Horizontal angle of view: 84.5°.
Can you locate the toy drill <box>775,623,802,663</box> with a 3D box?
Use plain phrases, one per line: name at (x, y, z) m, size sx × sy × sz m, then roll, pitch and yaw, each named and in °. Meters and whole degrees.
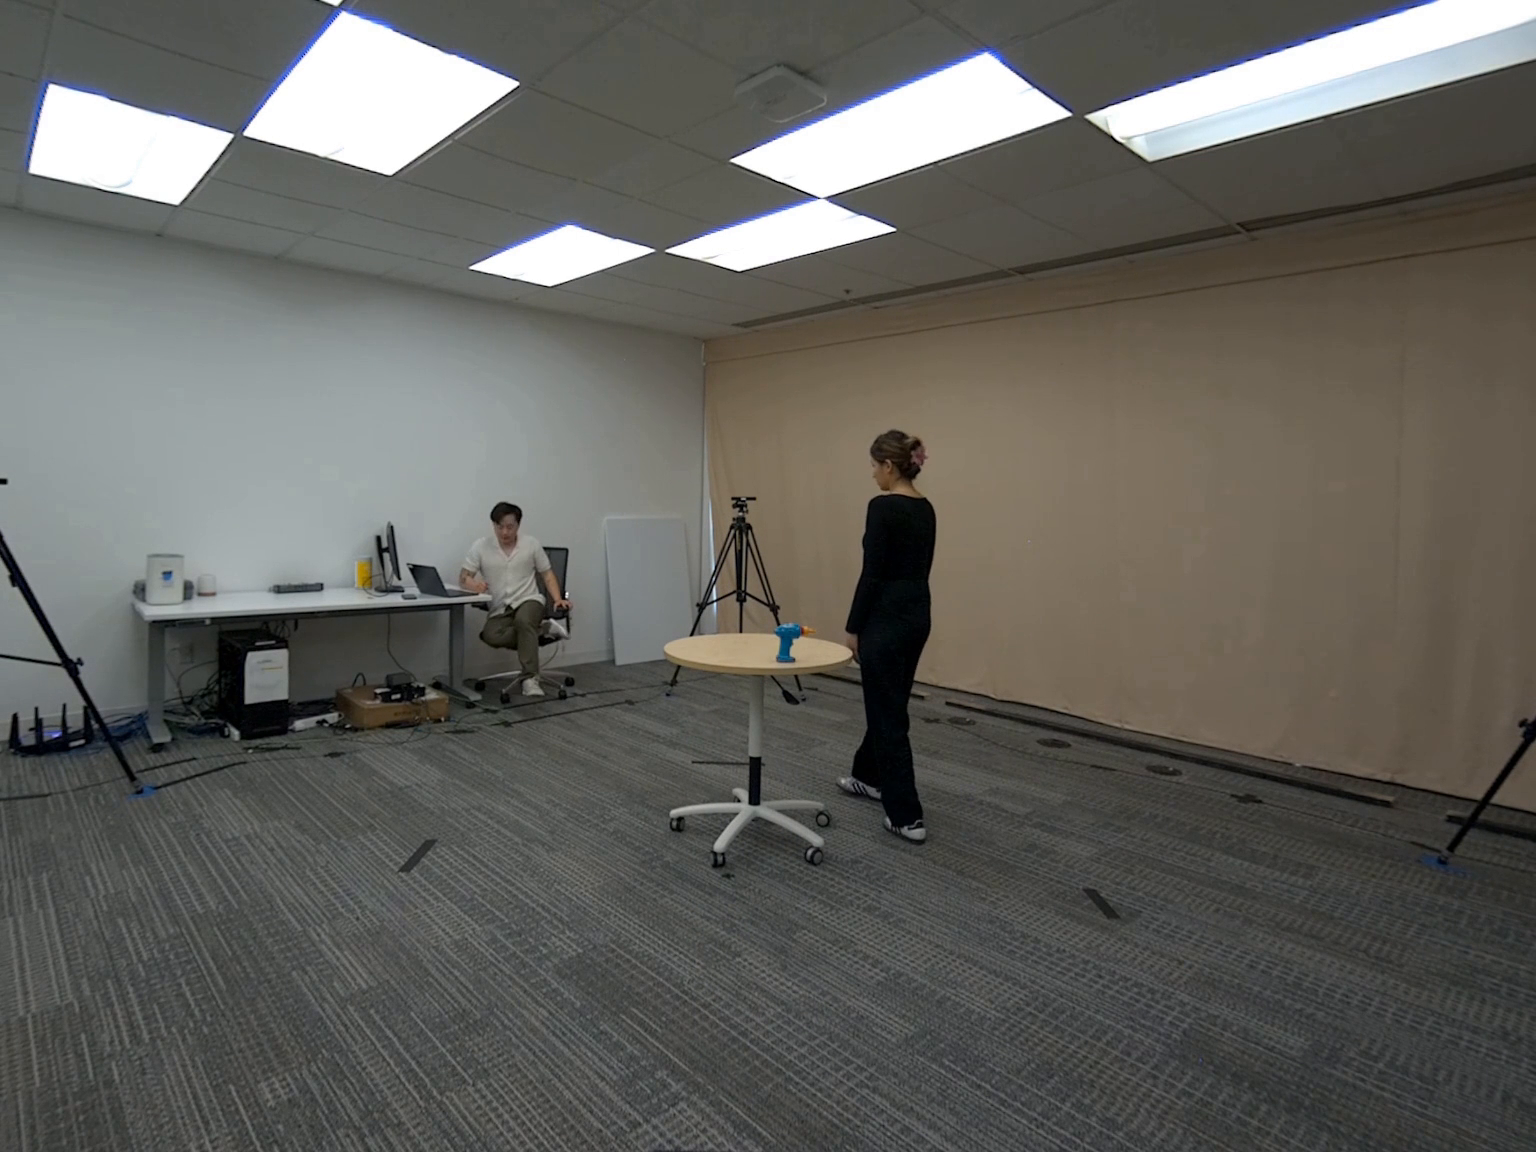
toy drill at (0.098, 0.249, 3.188) m, size 0.167 × 0.145 × 0.062 m, roll -2°, pitch 5°, yaw -20°
